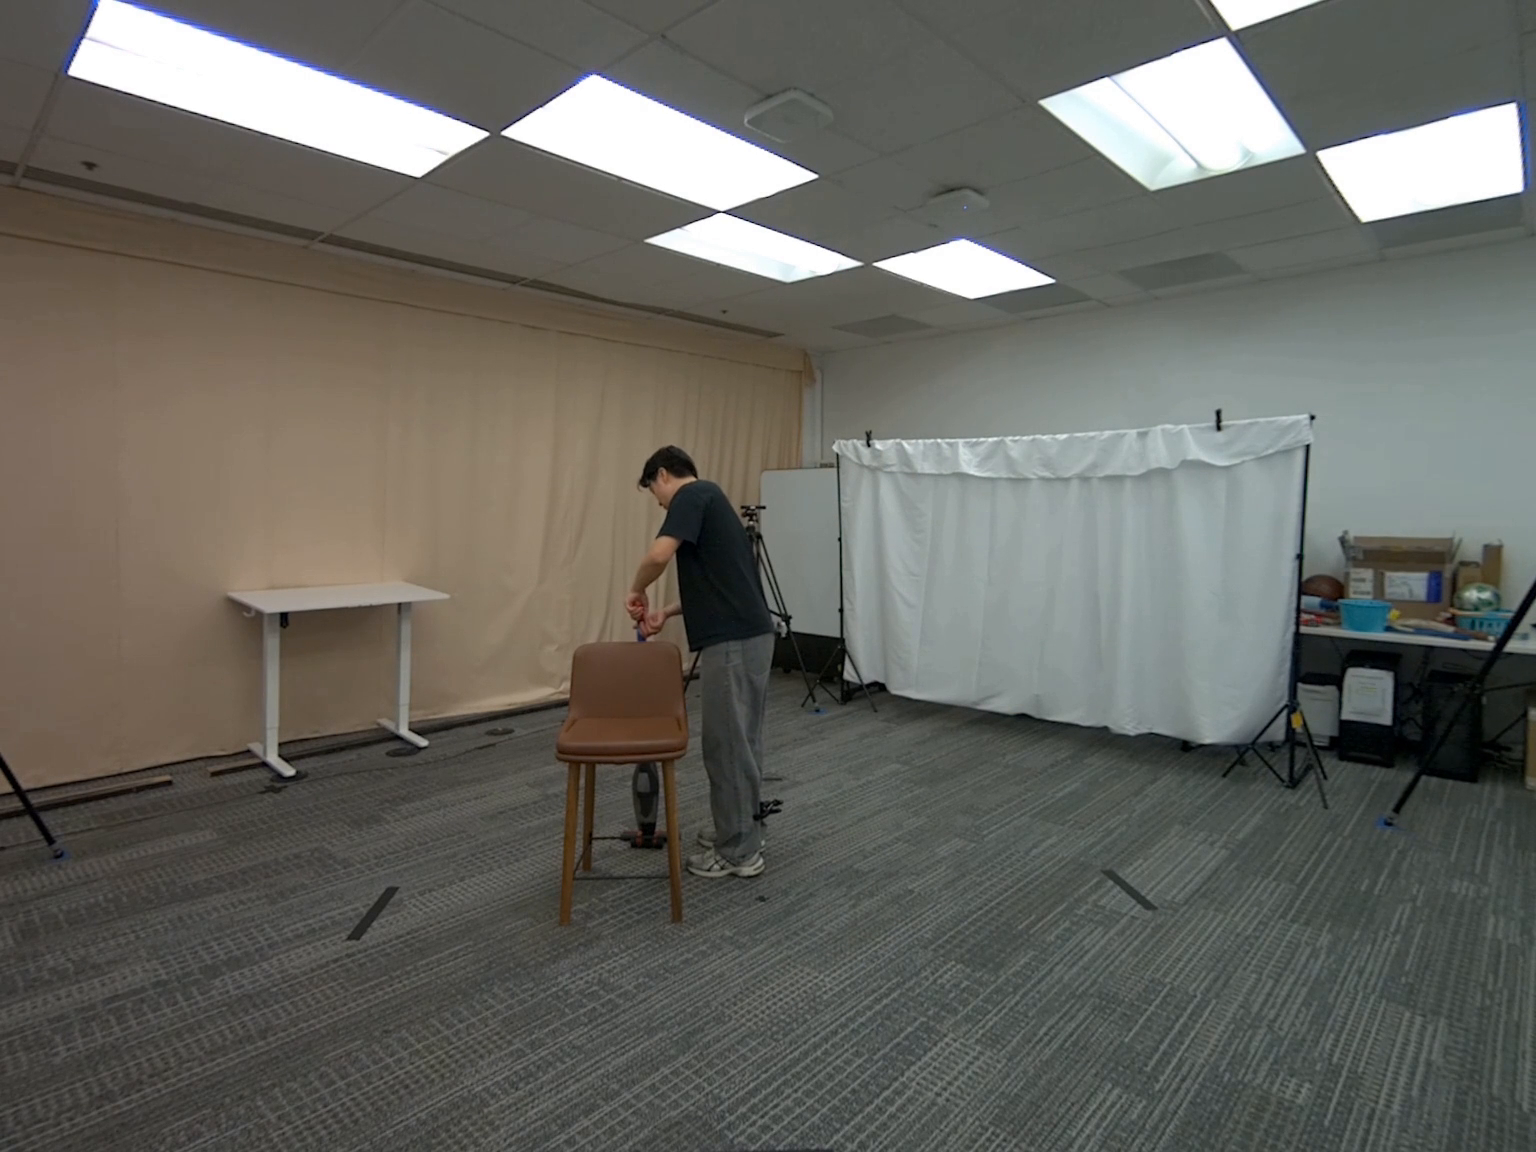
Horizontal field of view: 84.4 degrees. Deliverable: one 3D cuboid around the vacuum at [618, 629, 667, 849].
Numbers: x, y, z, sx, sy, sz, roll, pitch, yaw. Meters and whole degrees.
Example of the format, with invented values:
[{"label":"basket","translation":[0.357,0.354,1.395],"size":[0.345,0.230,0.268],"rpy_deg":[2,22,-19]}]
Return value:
[{"label":"vacuum","translation":[-0.493,0.606,3.375],"size":[0.252,1.041,0.145],"rpy_deg":[0,13,-2]}]
